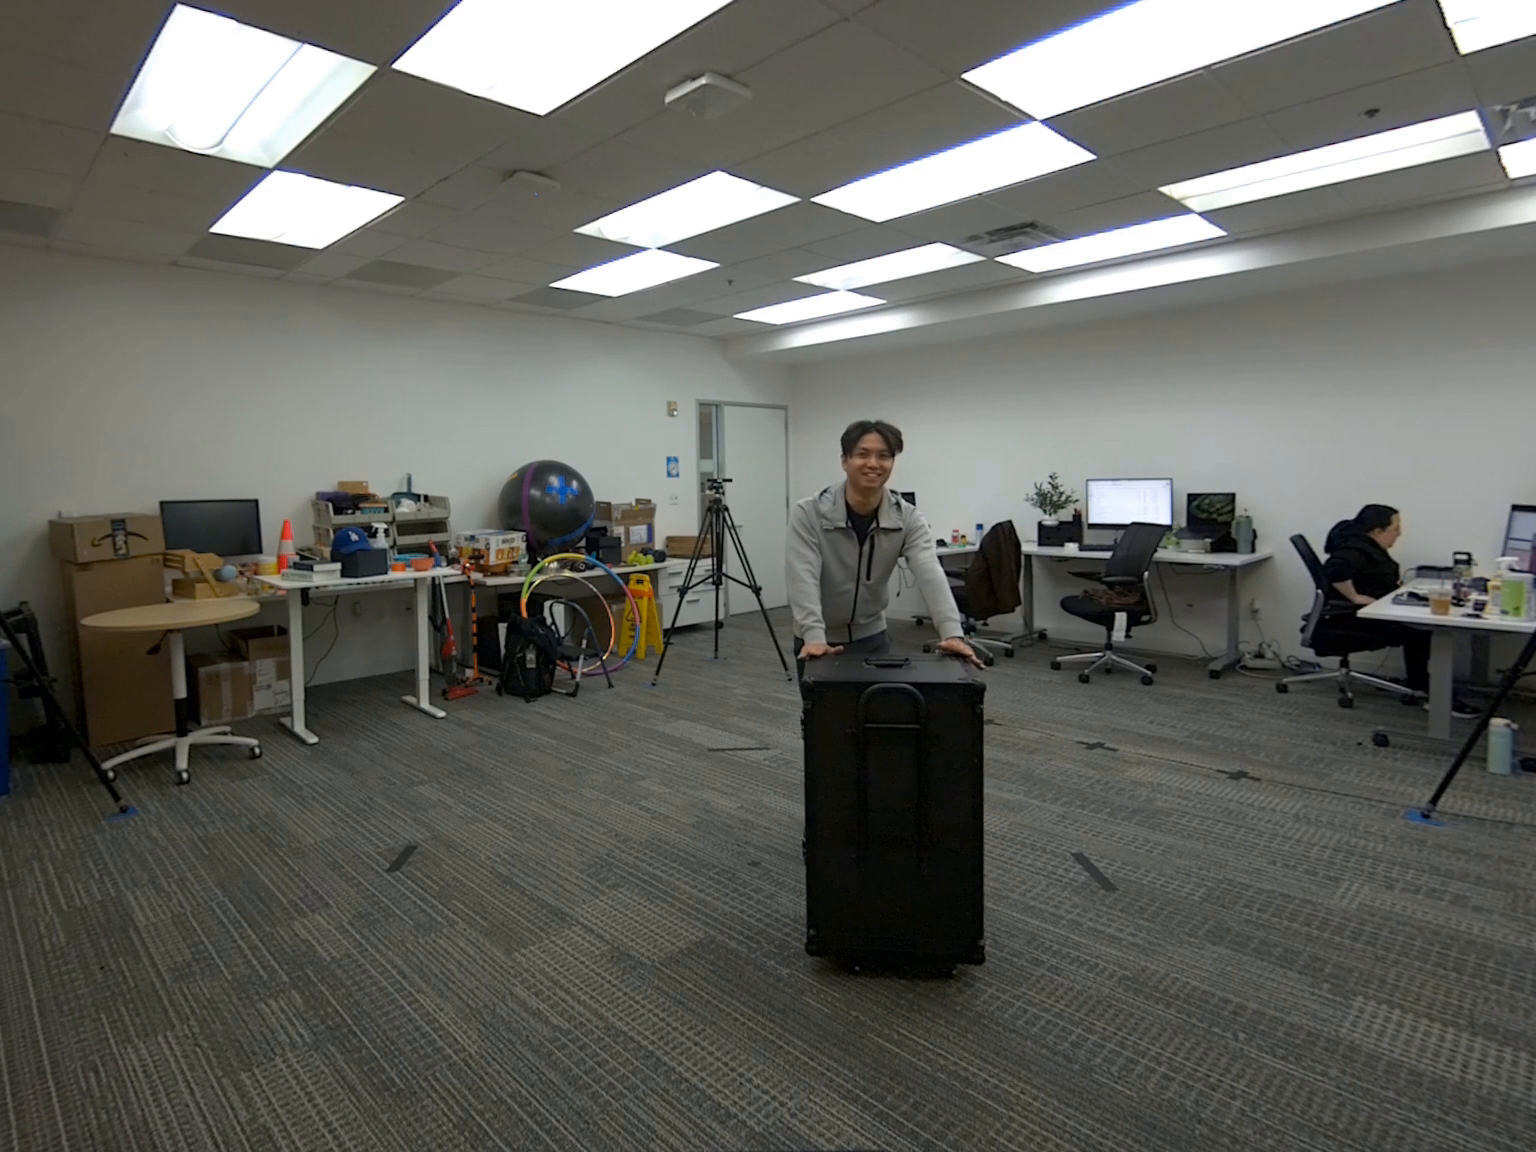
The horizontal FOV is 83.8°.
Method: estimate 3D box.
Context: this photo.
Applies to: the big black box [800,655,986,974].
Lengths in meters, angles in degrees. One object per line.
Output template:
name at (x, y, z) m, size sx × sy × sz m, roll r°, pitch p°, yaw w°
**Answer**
big black box at (0.360, 0.688, 2.485) m, size 0.525 × 0.858 × 0.395 m, roll -1°, pitch 5°, yaw 7°
